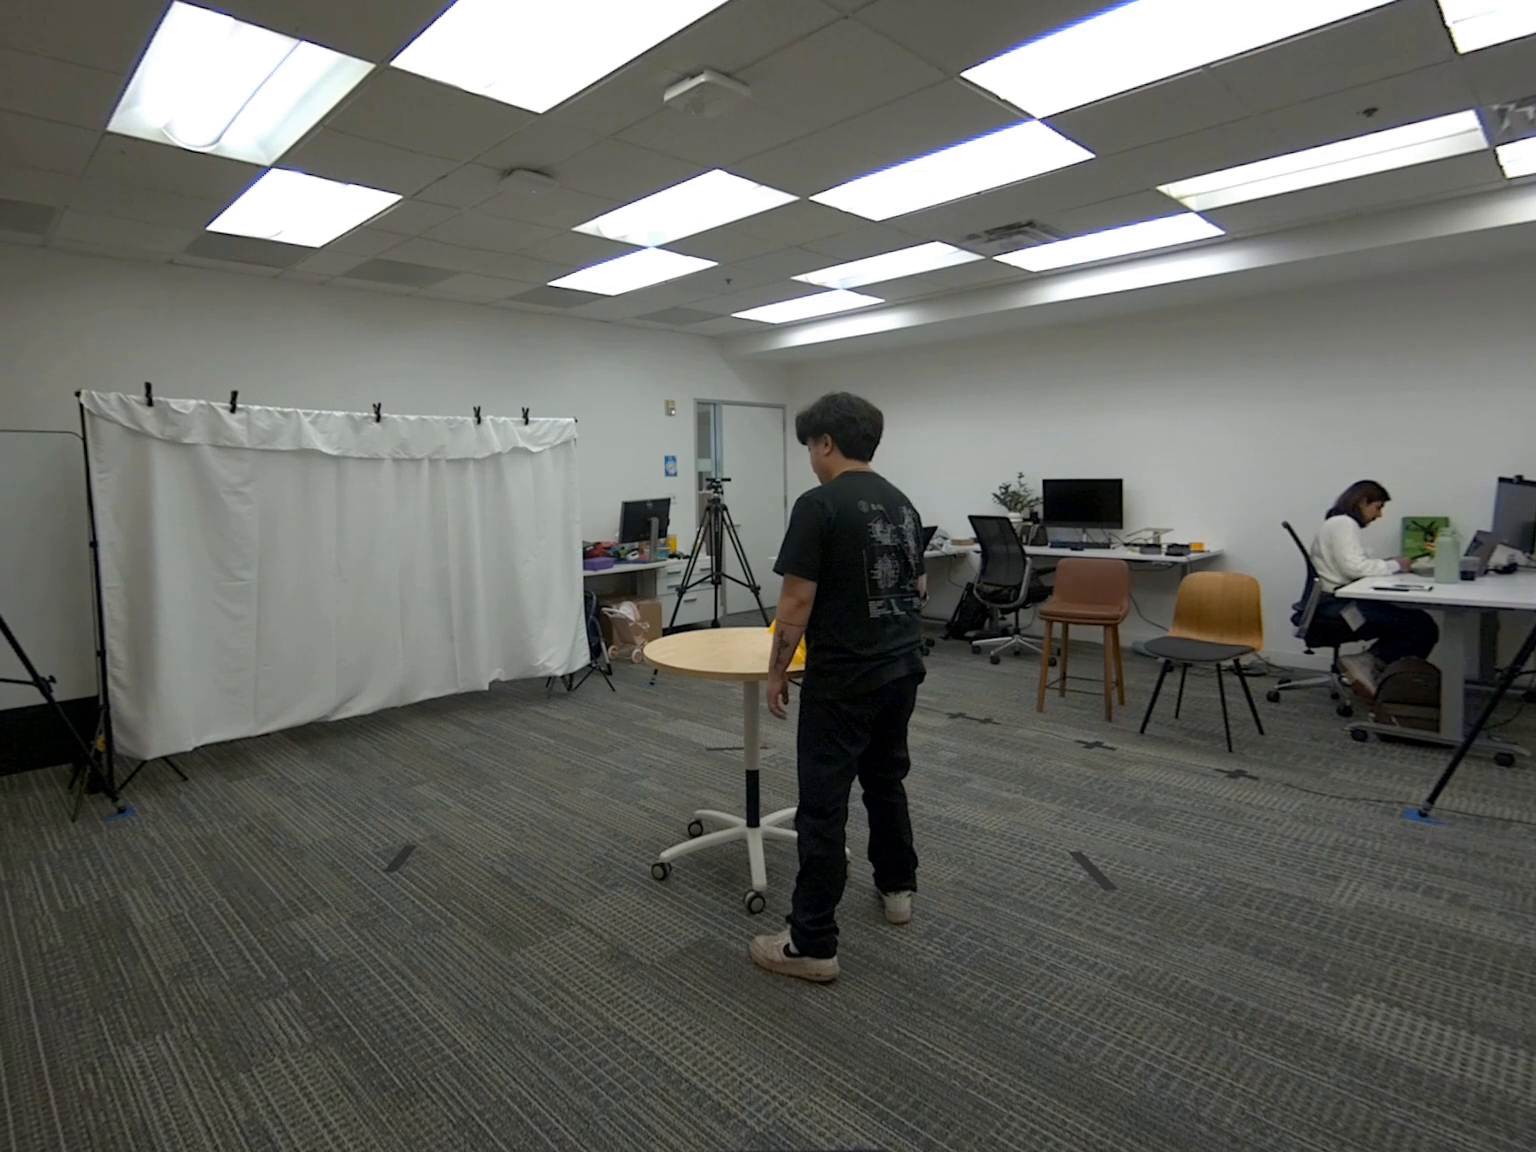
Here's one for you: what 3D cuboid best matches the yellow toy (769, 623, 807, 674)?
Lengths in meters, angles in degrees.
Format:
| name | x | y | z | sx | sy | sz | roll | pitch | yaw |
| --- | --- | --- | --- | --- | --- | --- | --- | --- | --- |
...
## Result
| name | x | y | z | sx | sy | sz | roll | pitch | yaw |
| --- | --- | --- | --- | --- | --- | --- | --- | --- | --- |
| yellow toy | 0.140 | 0.160 | 2.876 | 0.200 | 0.230 | 0.198 | -3 | 6 | -29 |
